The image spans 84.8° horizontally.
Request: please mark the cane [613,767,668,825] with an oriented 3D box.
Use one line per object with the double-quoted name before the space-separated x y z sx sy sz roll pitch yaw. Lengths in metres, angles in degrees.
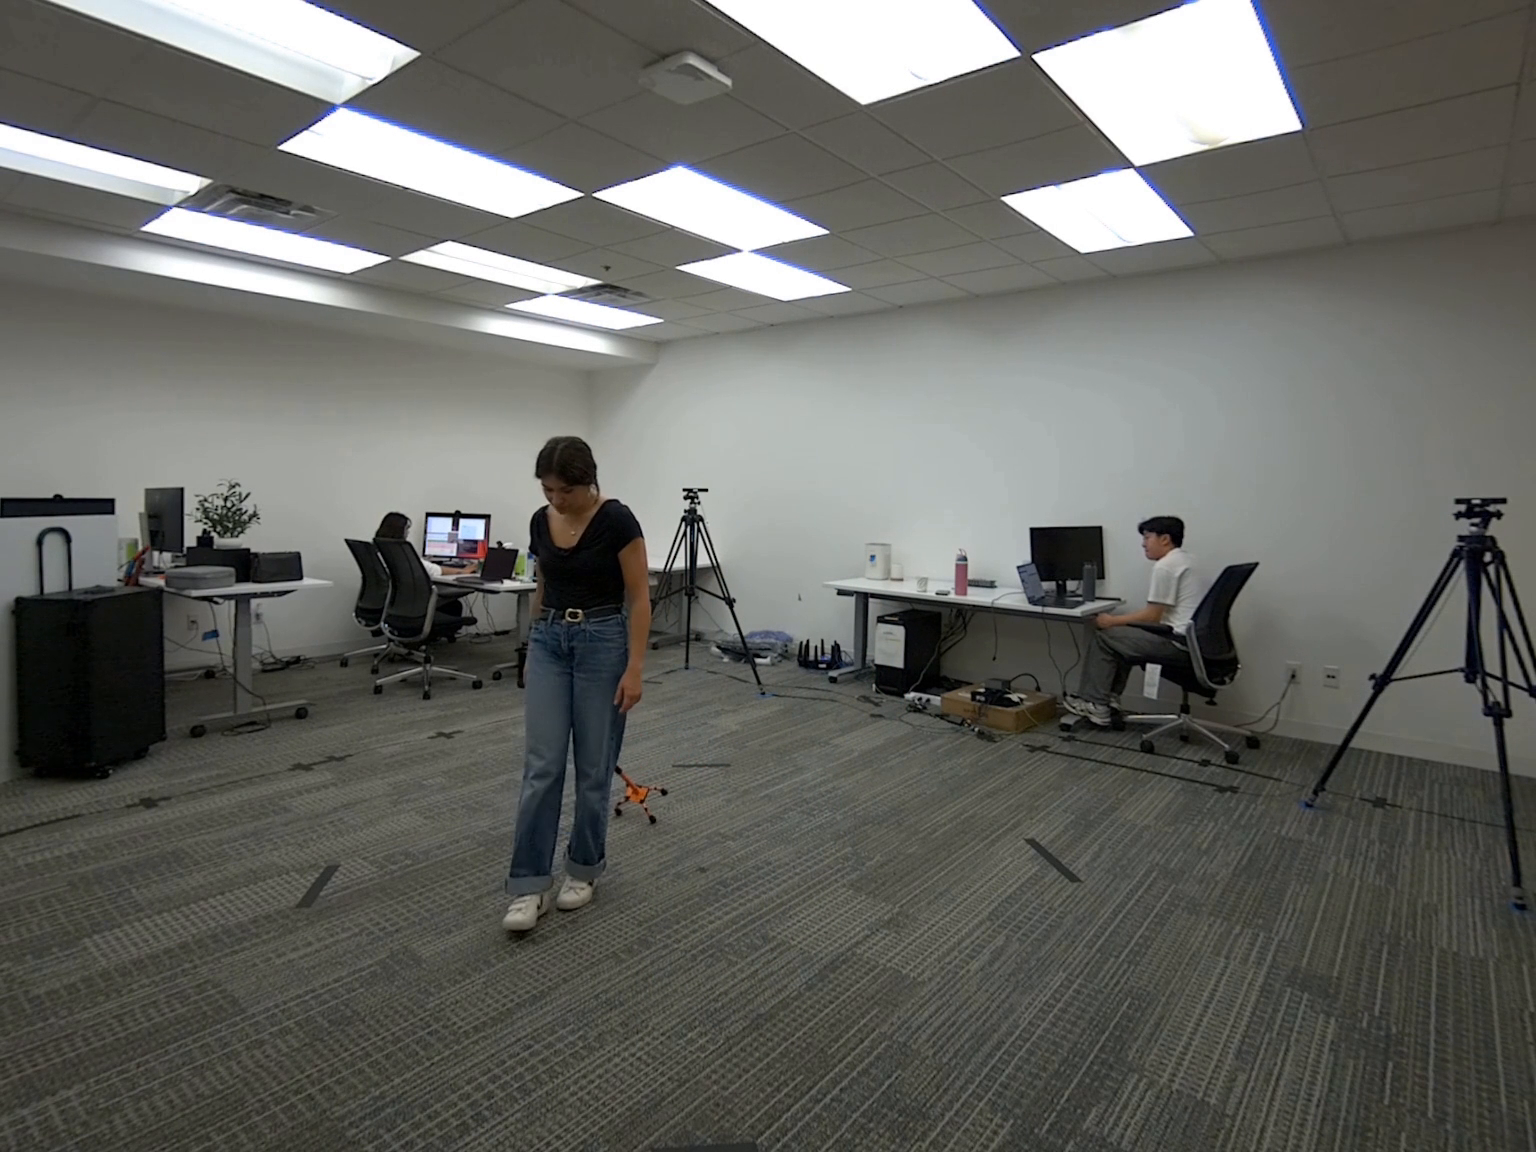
"cane" -0.680 0.669 3.325 0.212 0.153 0.872 1 -41 27
